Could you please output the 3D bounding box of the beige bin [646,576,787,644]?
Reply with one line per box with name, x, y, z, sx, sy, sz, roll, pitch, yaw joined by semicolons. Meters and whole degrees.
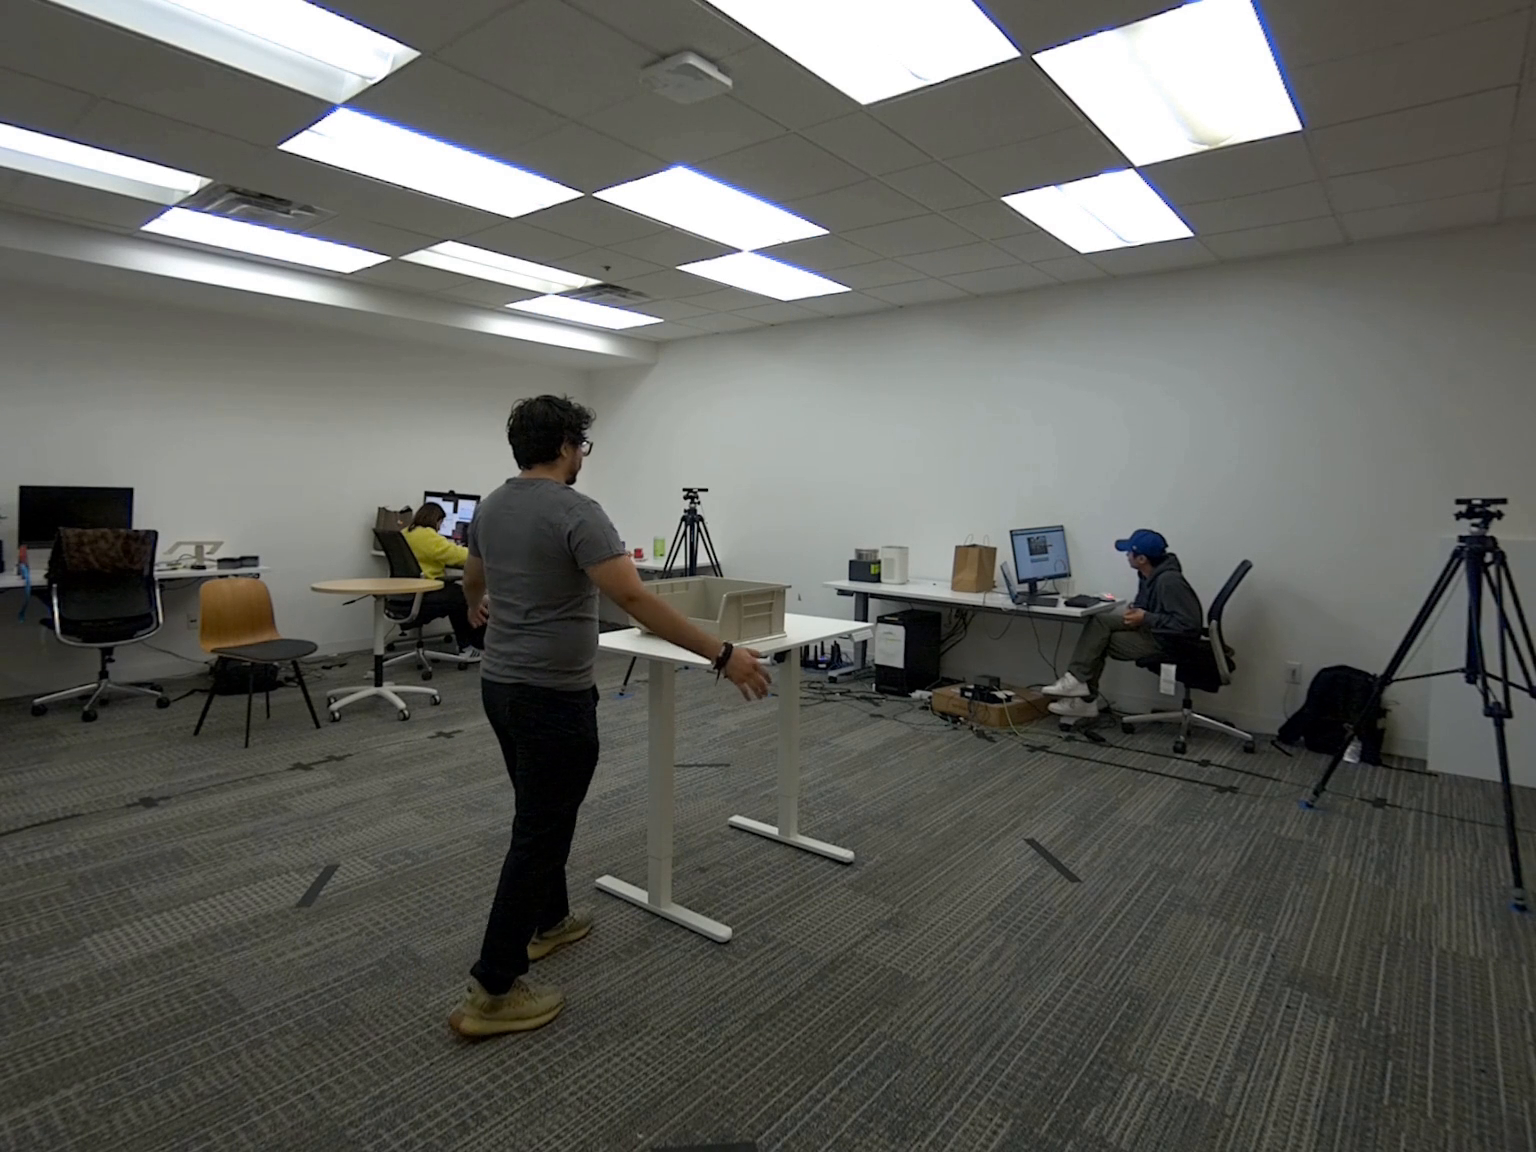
beige bin;-0.206;0.119;2.936;0.436;0.188;0.366;4;5;39
